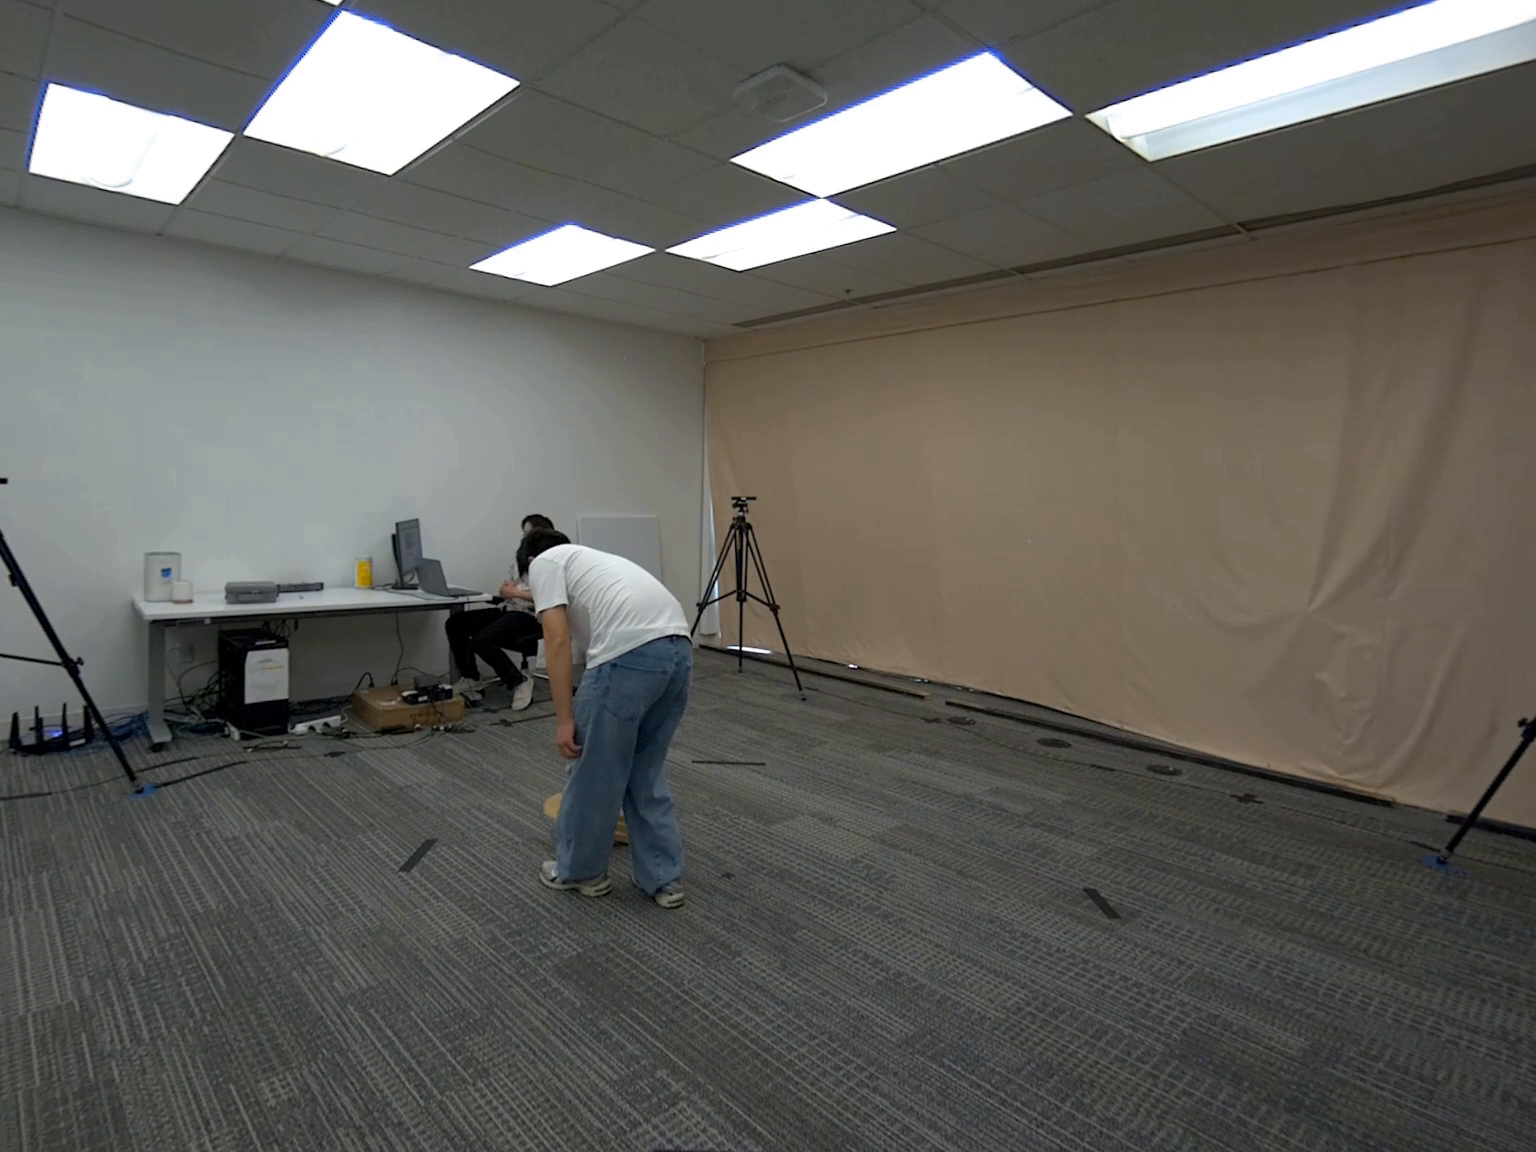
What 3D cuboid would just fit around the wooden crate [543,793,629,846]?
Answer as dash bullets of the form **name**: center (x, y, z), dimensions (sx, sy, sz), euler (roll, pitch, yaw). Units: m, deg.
- **wooden crate**: center (-0.661, 0.888, 3.370), dimensions (0.310, 0.275, 0.314), euler (6, -18, 45)
